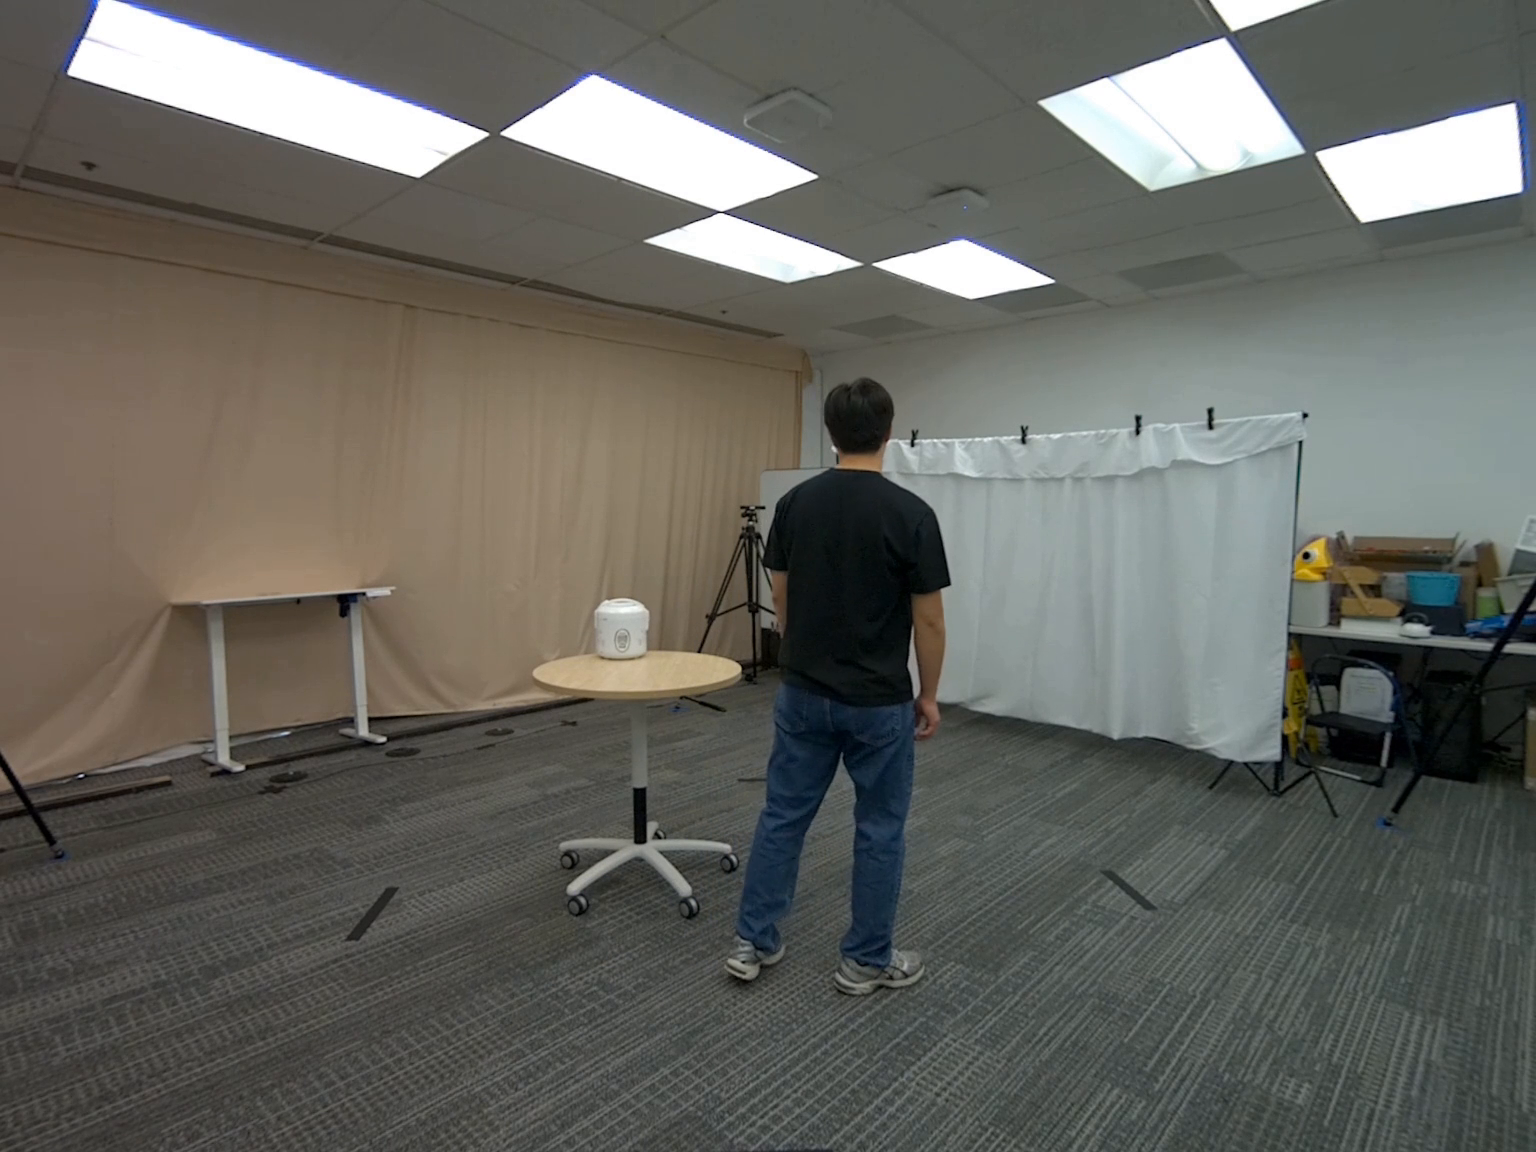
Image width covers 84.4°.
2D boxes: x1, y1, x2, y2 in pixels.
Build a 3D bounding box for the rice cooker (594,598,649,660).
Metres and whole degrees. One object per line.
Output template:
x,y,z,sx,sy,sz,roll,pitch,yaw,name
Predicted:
-0.585,0.206,3.371,0.218,0.232,0.220,-1,2,-10,rice cooker
